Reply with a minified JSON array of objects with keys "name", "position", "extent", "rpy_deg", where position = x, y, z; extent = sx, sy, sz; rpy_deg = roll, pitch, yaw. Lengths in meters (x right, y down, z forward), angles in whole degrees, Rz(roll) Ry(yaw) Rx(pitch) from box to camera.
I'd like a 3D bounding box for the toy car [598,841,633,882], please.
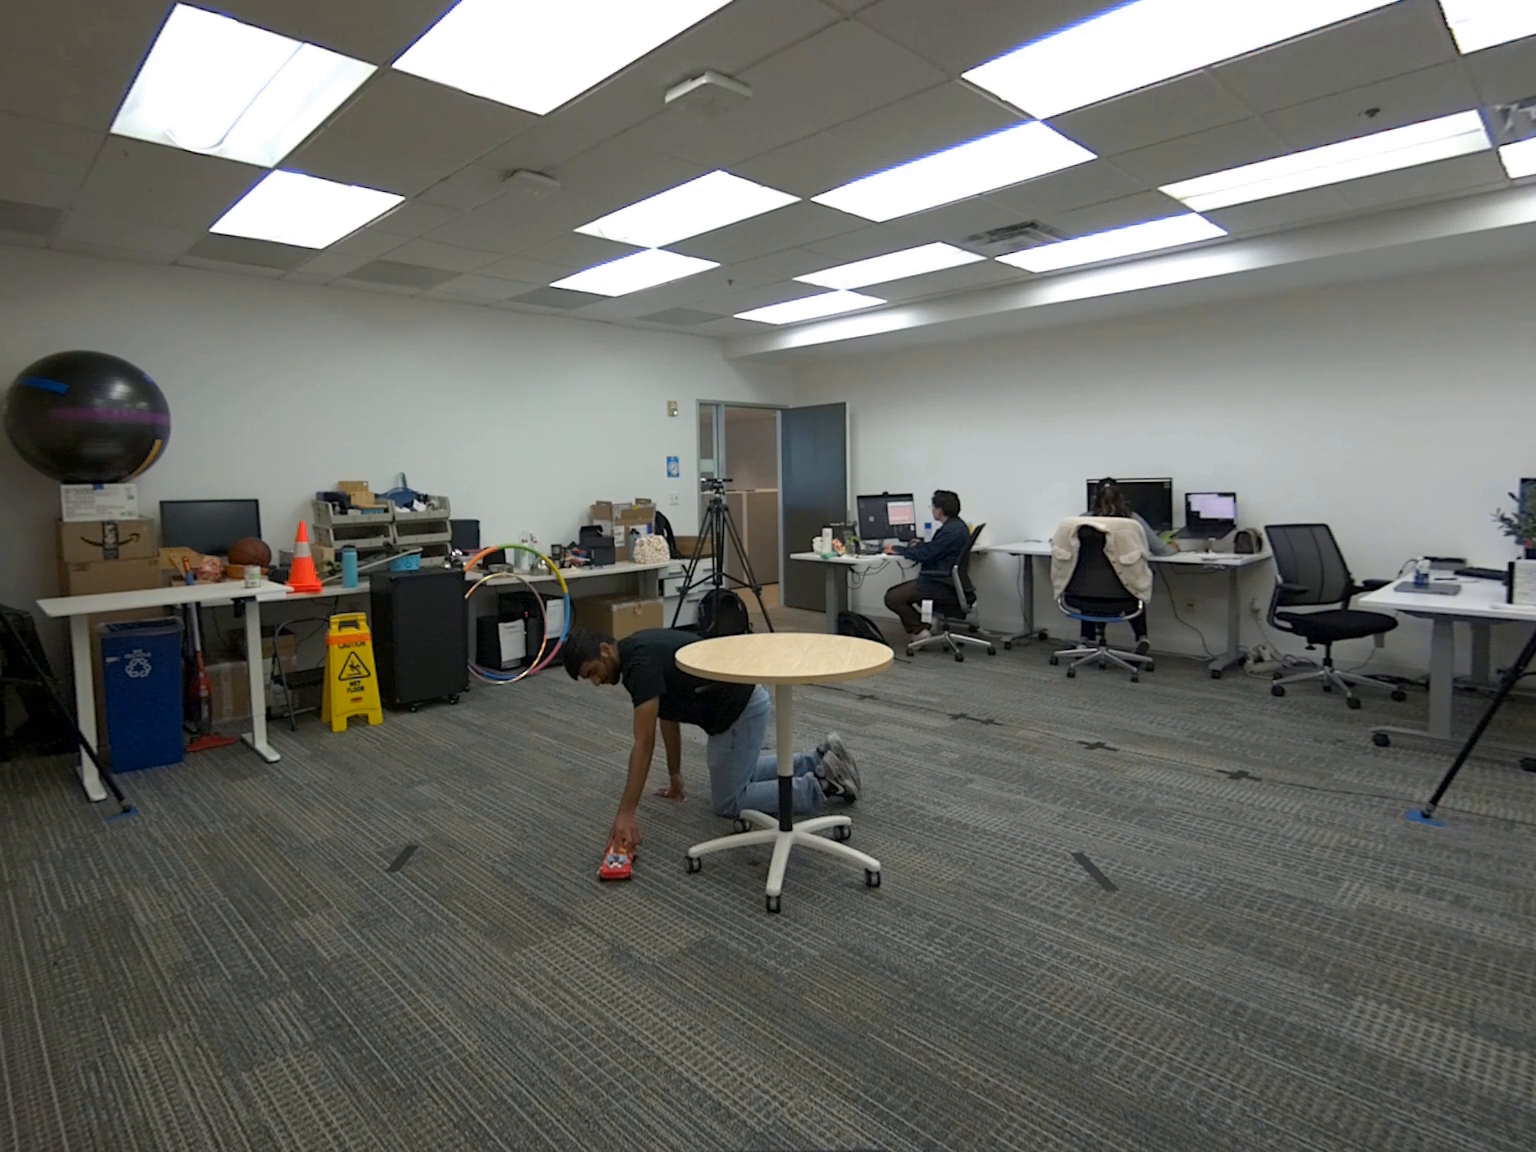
[{"name":"toy car","position":[-0.548,1.020,3.092],"extent":[0.130,0.082,0.258],"rpy_deg":[-3,17,-3]}]
